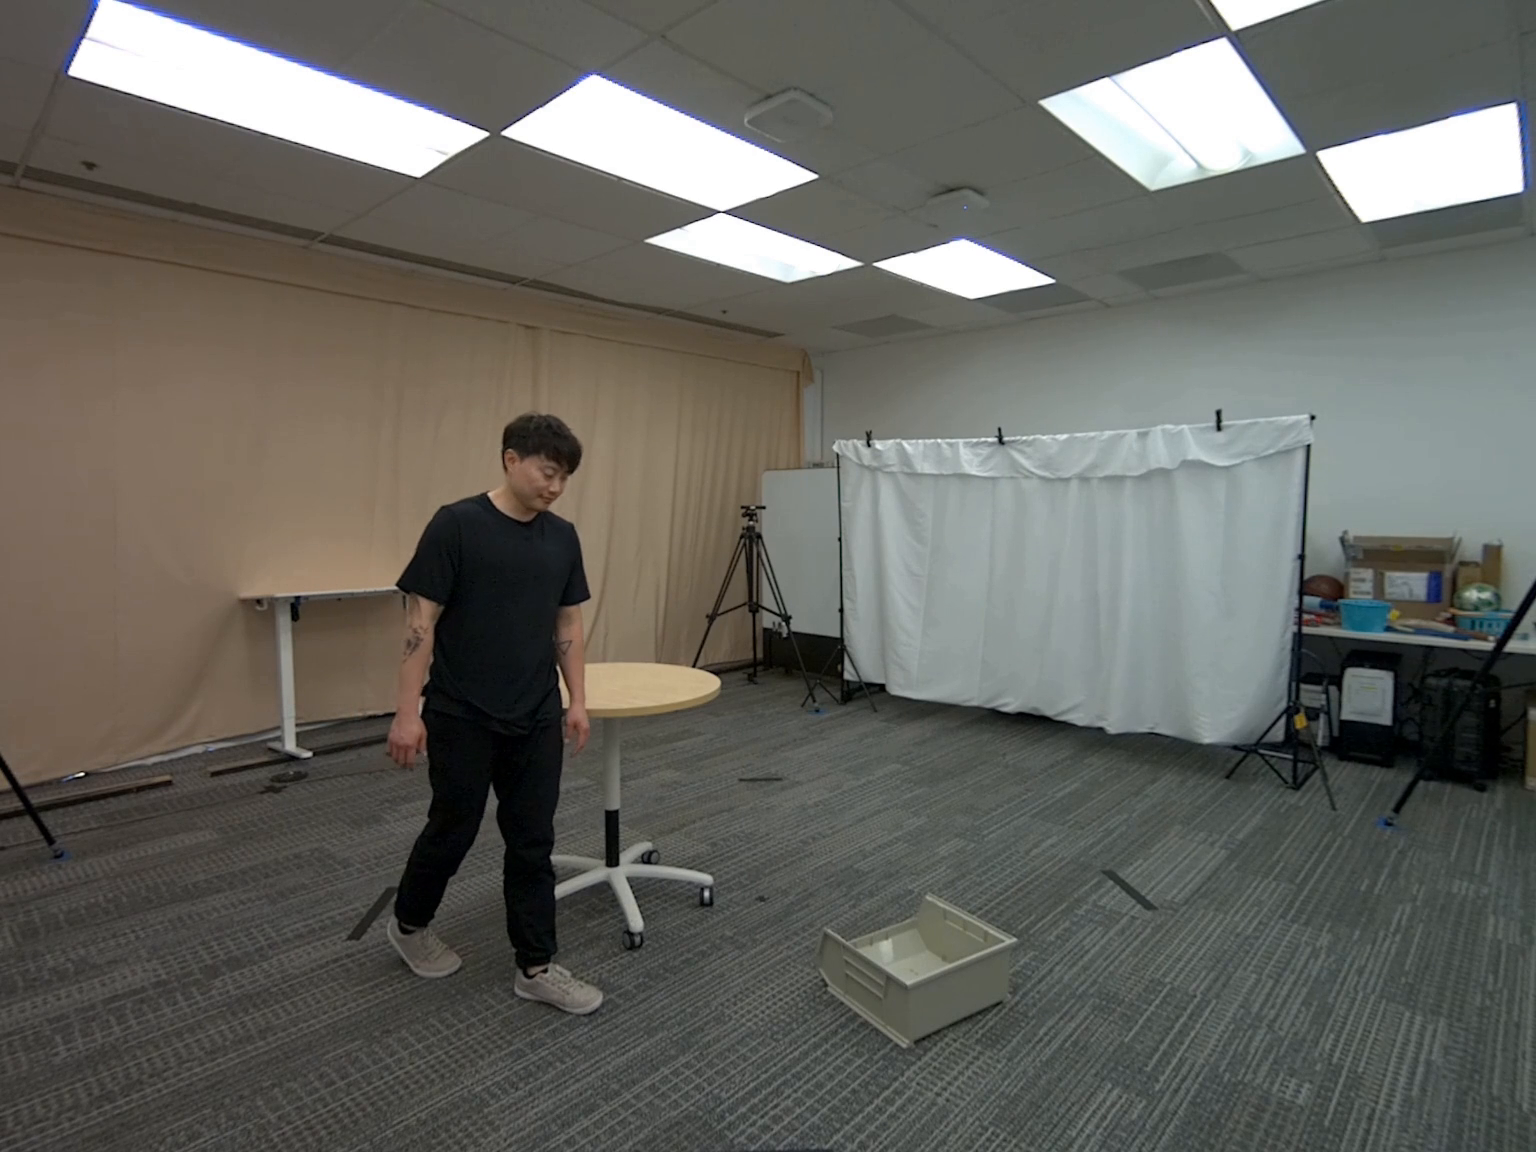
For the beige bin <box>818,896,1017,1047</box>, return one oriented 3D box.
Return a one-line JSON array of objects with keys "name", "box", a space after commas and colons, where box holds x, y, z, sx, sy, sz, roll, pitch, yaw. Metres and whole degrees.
[{"name": "beige bin", "box": [0.425, 1.105, 2.402, 0.410, 0.188, 0.389, -2, 6, -34]}]
